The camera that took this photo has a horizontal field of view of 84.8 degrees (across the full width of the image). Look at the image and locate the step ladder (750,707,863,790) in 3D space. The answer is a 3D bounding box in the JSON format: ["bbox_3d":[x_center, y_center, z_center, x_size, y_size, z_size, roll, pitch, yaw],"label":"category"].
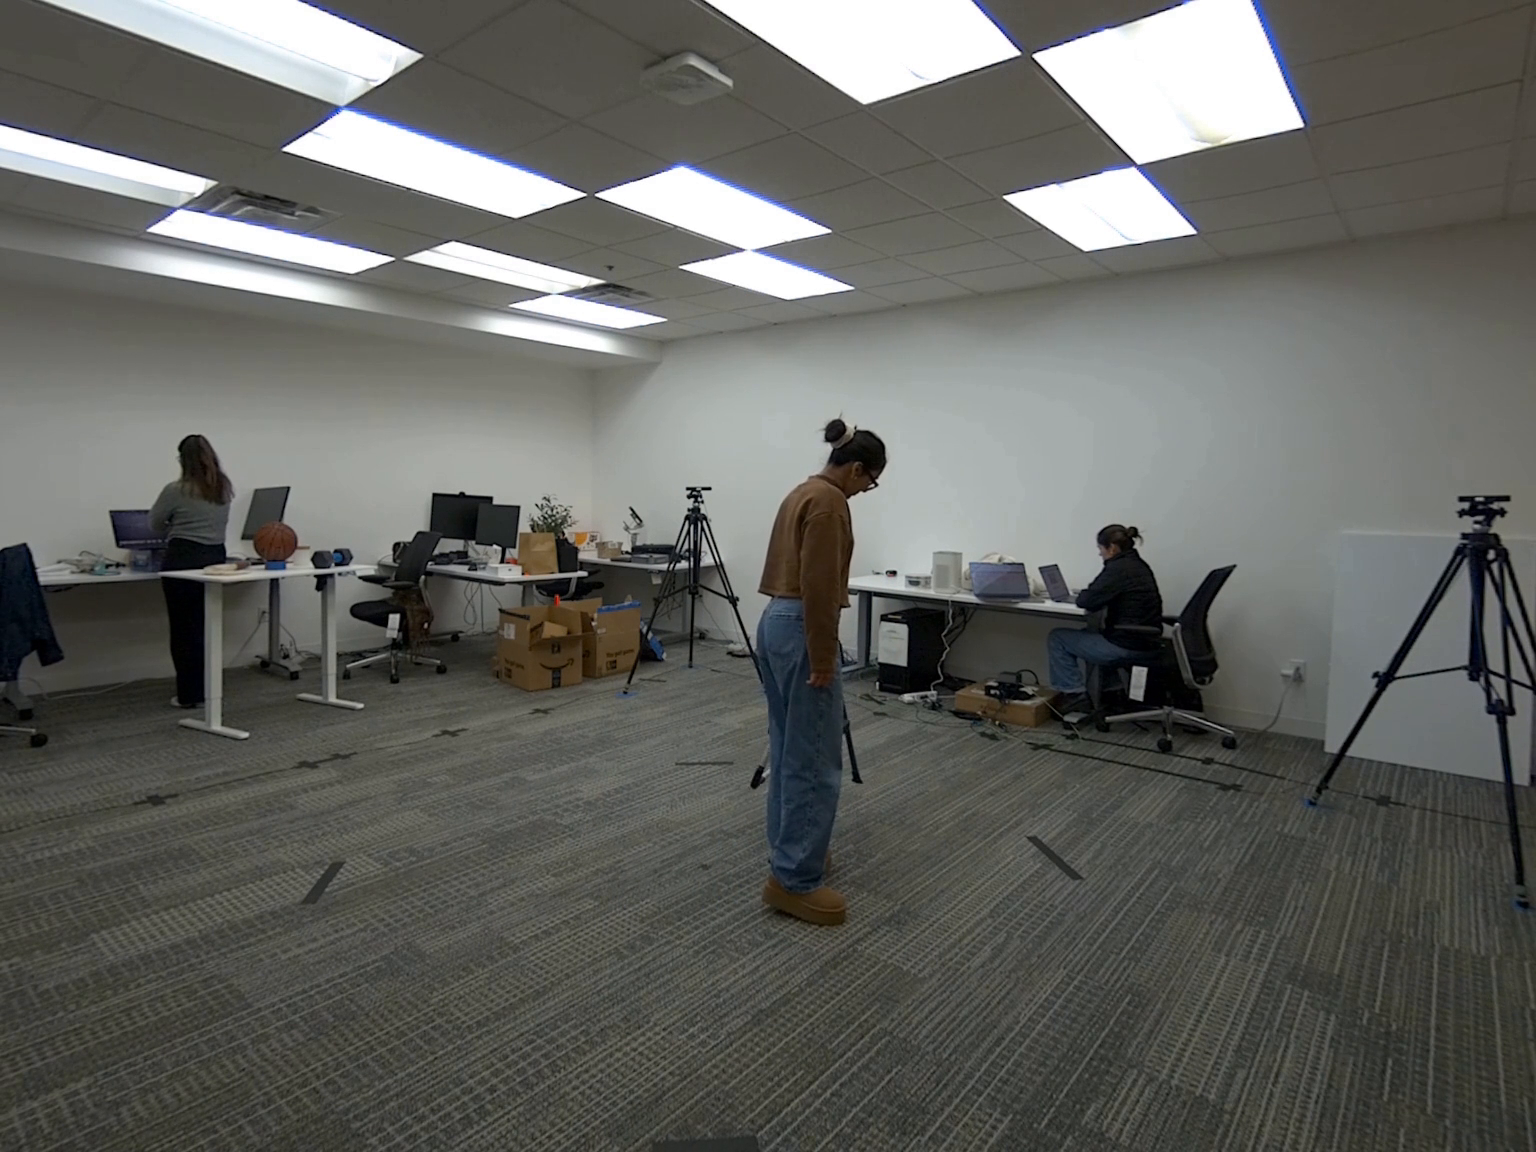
[{"bbox_3d":[0.198,0.558,3.443,0.359,0.603,0.422,12,7,22],"label":"step ladder"}]
